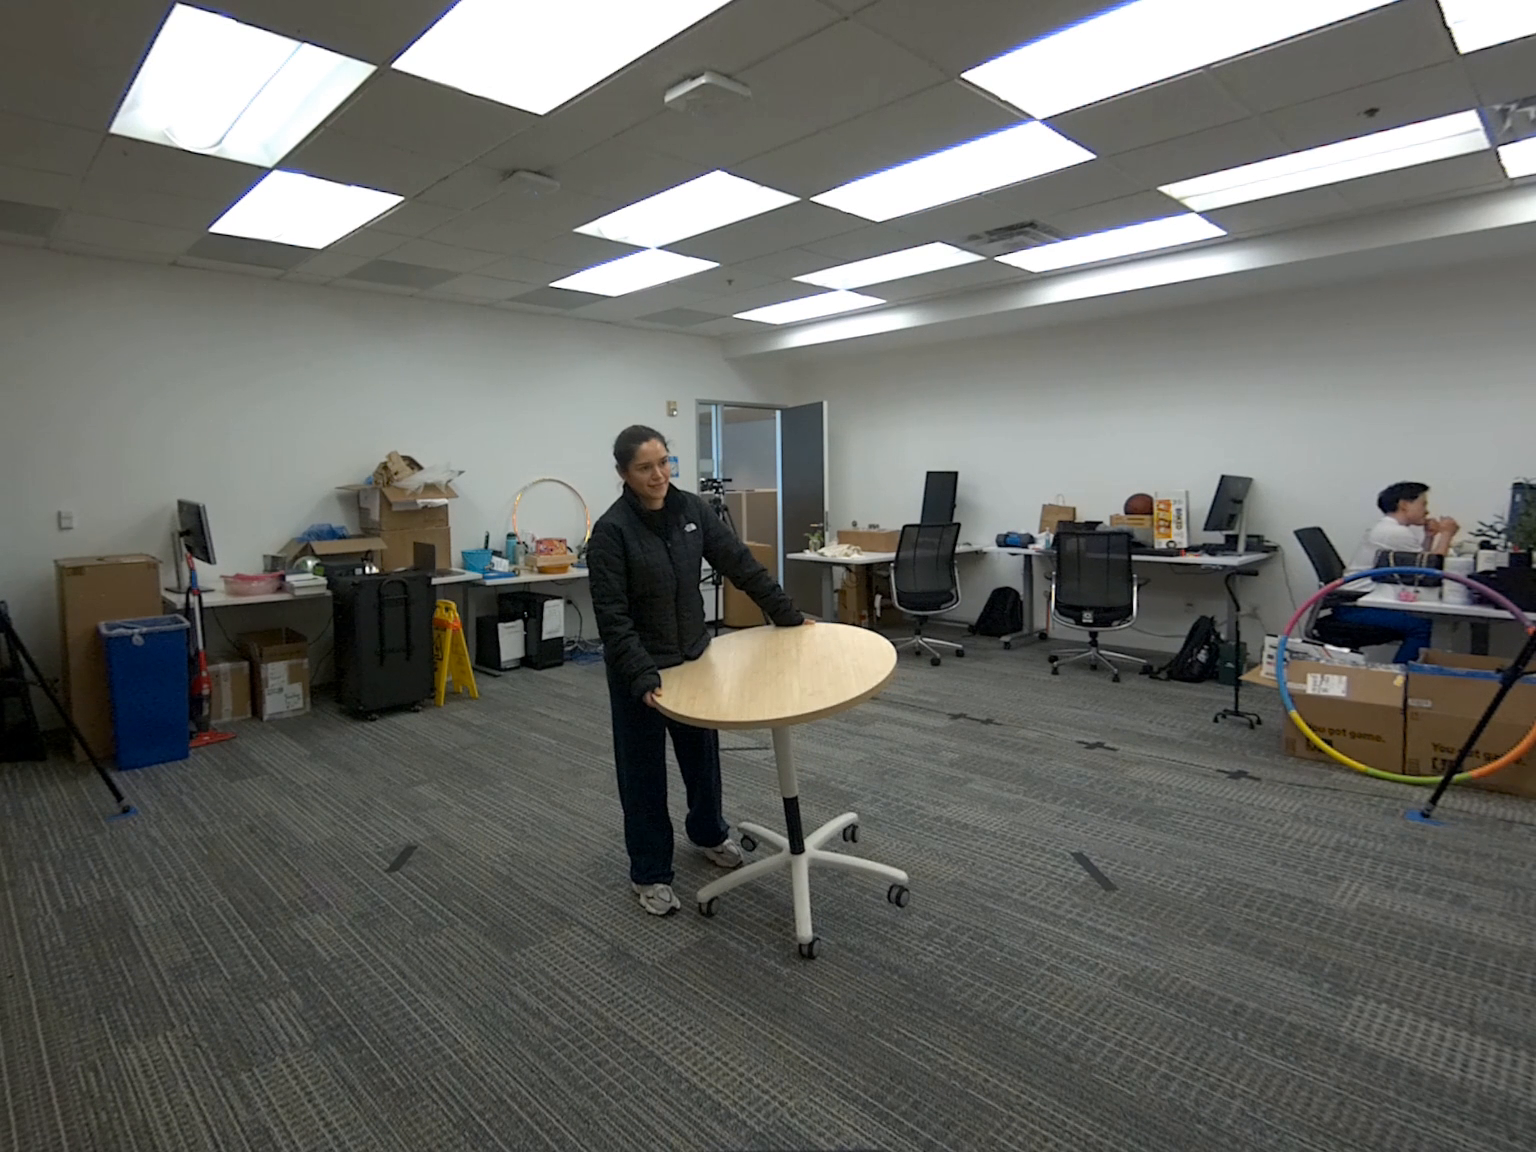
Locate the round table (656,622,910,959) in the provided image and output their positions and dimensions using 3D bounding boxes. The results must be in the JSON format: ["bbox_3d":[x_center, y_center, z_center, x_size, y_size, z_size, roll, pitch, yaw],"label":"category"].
[{"bbox_3d":[0.055,0.651,2.733,0.786,0.776,0.795,-8,13,0],"label":"round table"}]
